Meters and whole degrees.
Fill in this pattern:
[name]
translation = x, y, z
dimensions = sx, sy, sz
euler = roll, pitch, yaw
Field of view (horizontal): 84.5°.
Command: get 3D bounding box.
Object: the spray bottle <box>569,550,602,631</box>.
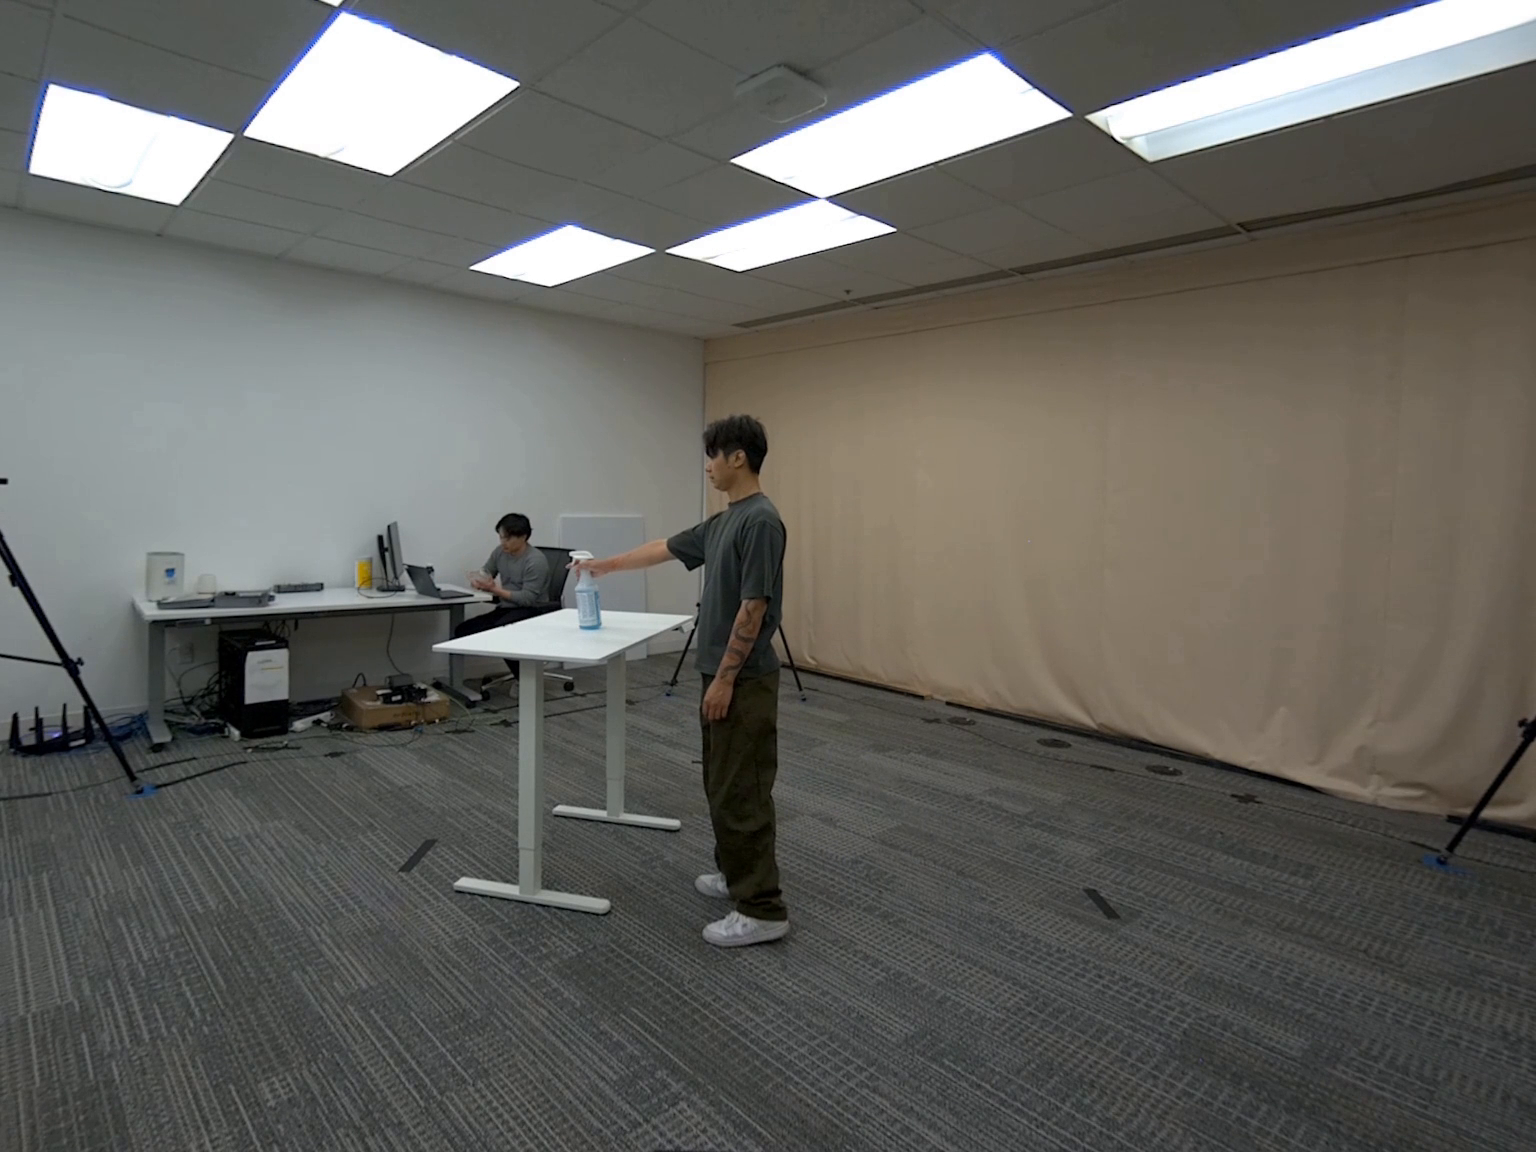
[spray bottle]
translation = -0.703, 0.054, 3.213
dimensions = 0.092, 0.295, 0.086
euler = -1, 9, 31
